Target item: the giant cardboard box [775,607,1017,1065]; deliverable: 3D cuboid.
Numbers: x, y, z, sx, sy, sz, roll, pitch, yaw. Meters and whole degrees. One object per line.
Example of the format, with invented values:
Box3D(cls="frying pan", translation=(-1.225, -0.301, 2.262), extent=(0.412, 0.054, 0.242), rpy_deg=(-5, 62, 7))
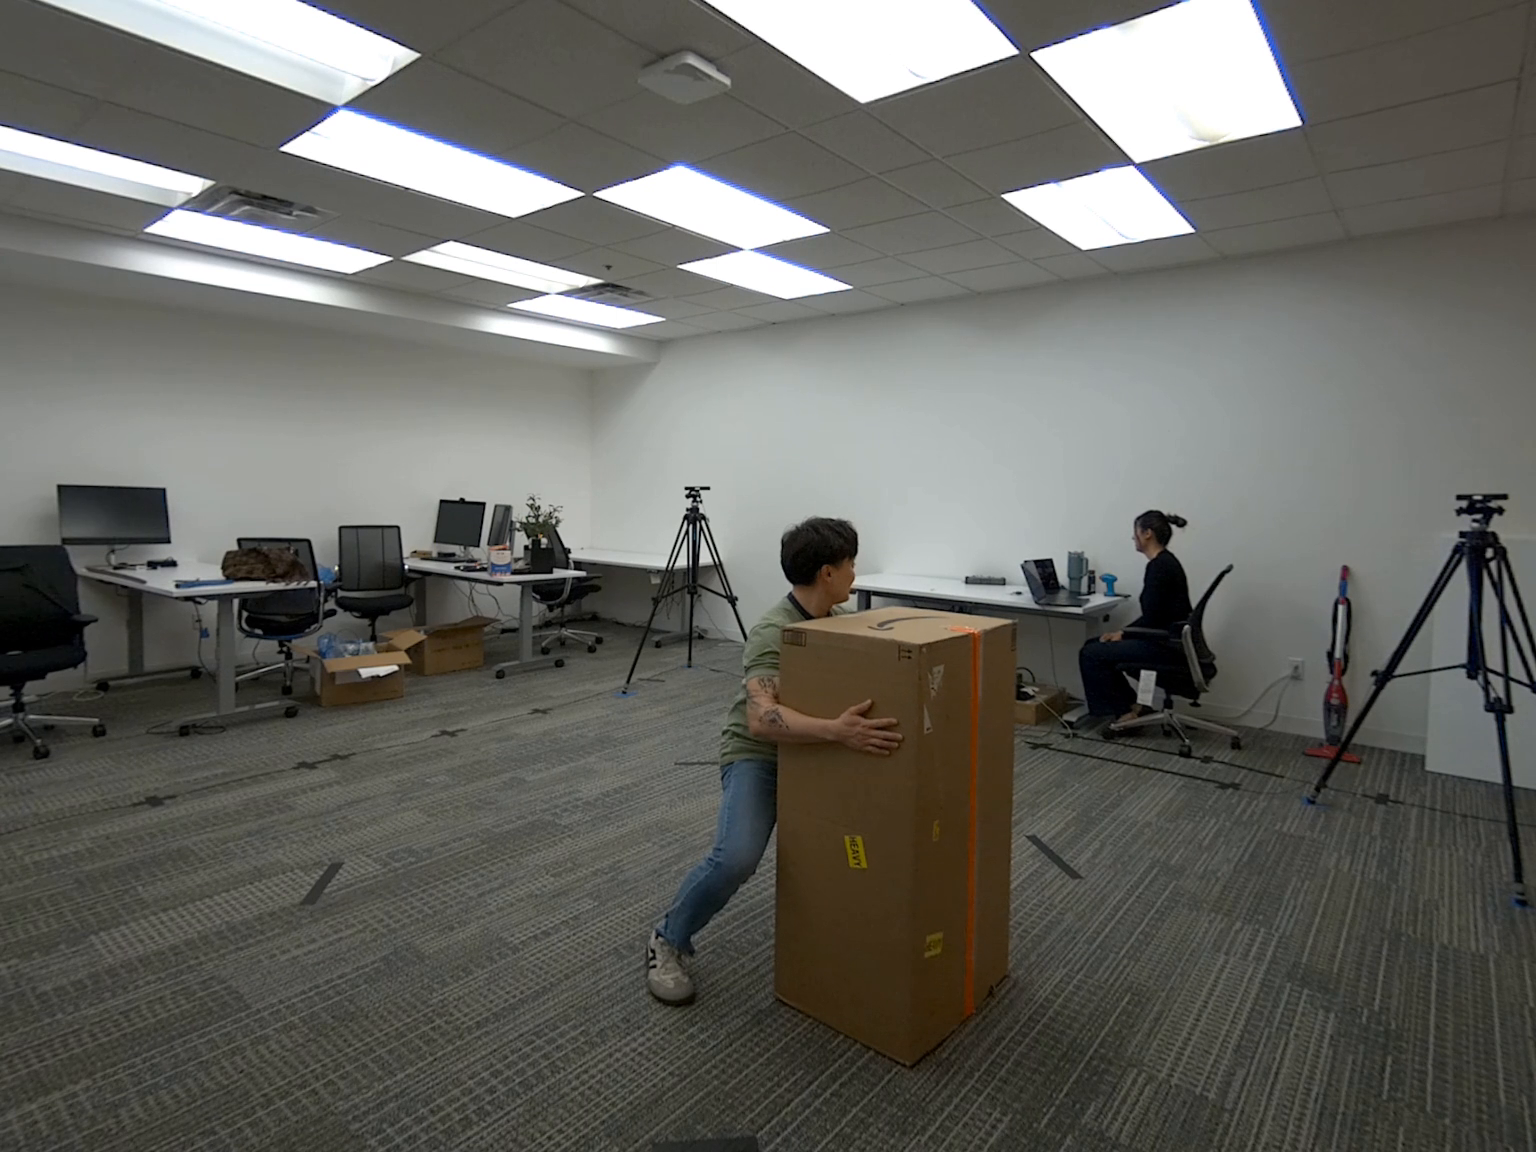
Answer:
Box3D(cls="giant cardboard box", translation=(0.363, 0.641, 2.370), extent=(0.440, 1.023, 0.560), rpy_deg=(3, 4, 40))
